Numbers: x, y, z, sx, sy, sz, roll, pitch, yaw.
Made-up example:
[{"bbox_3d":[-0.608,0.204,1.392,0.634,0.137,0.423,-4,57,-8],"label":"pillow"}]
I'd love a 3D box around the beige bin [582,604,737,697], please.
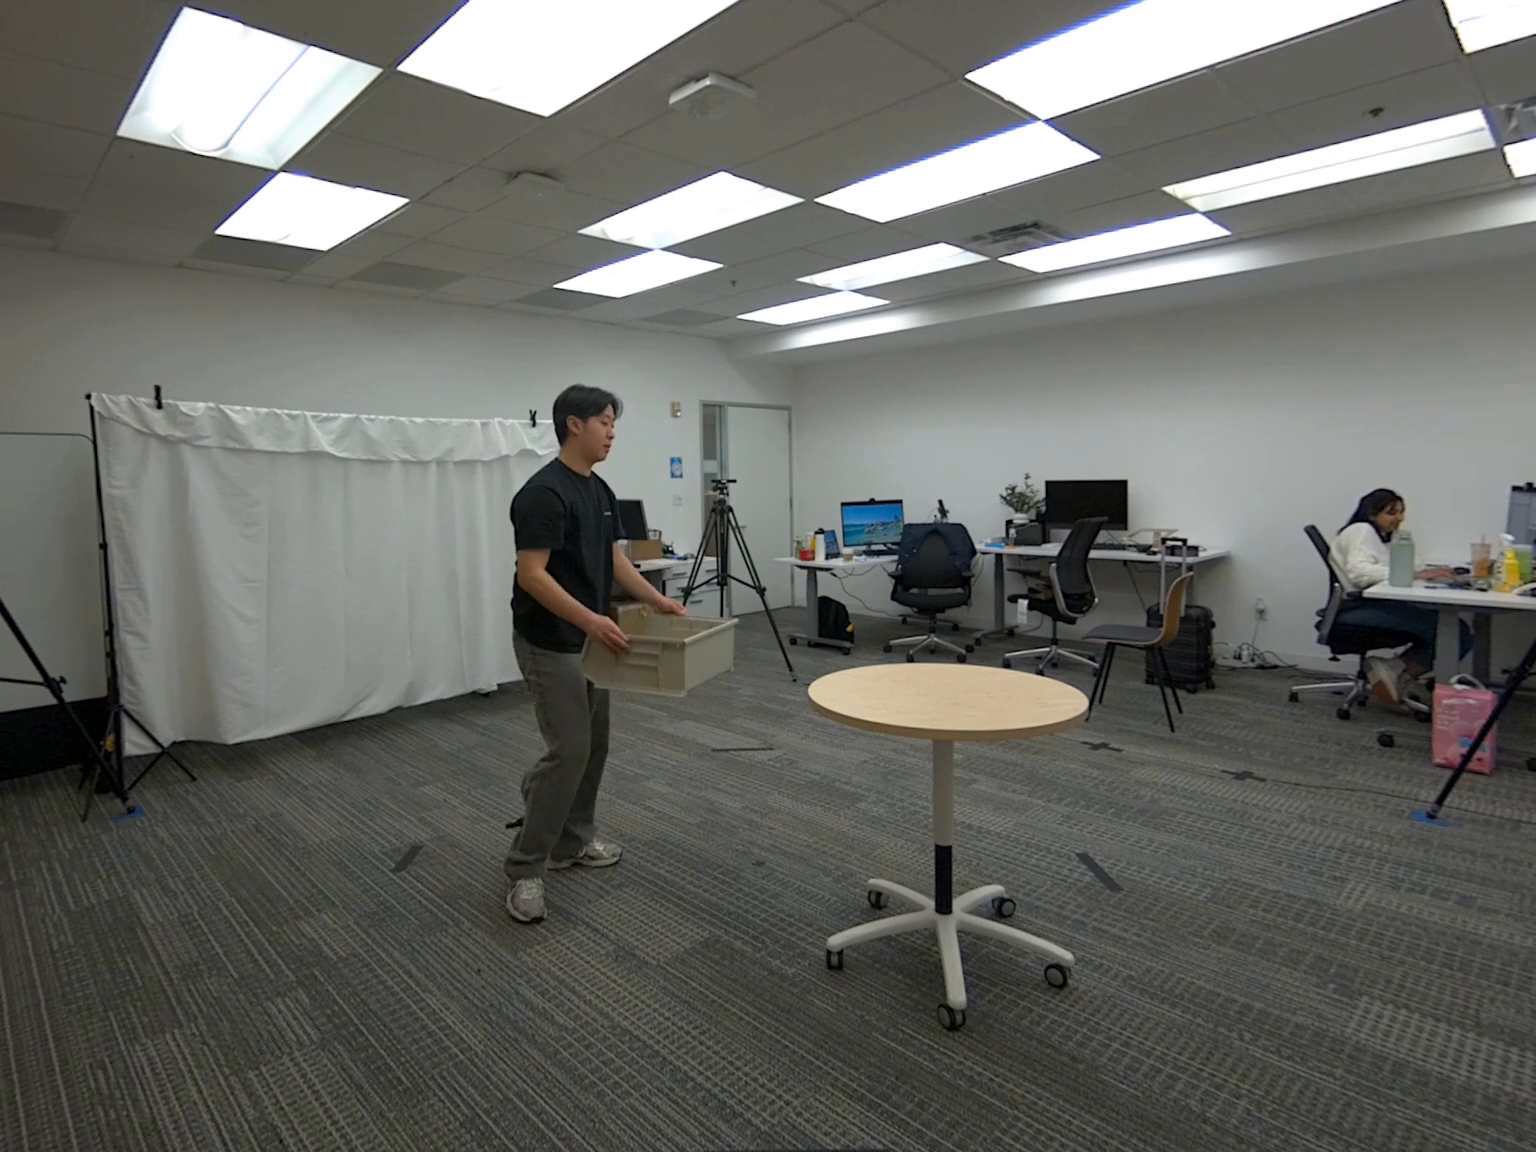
[{"bbox_3d":[-0.353,0.257,2.834,0.386,0.188,0.415,5,7,22],"label":"beige bin"}]
